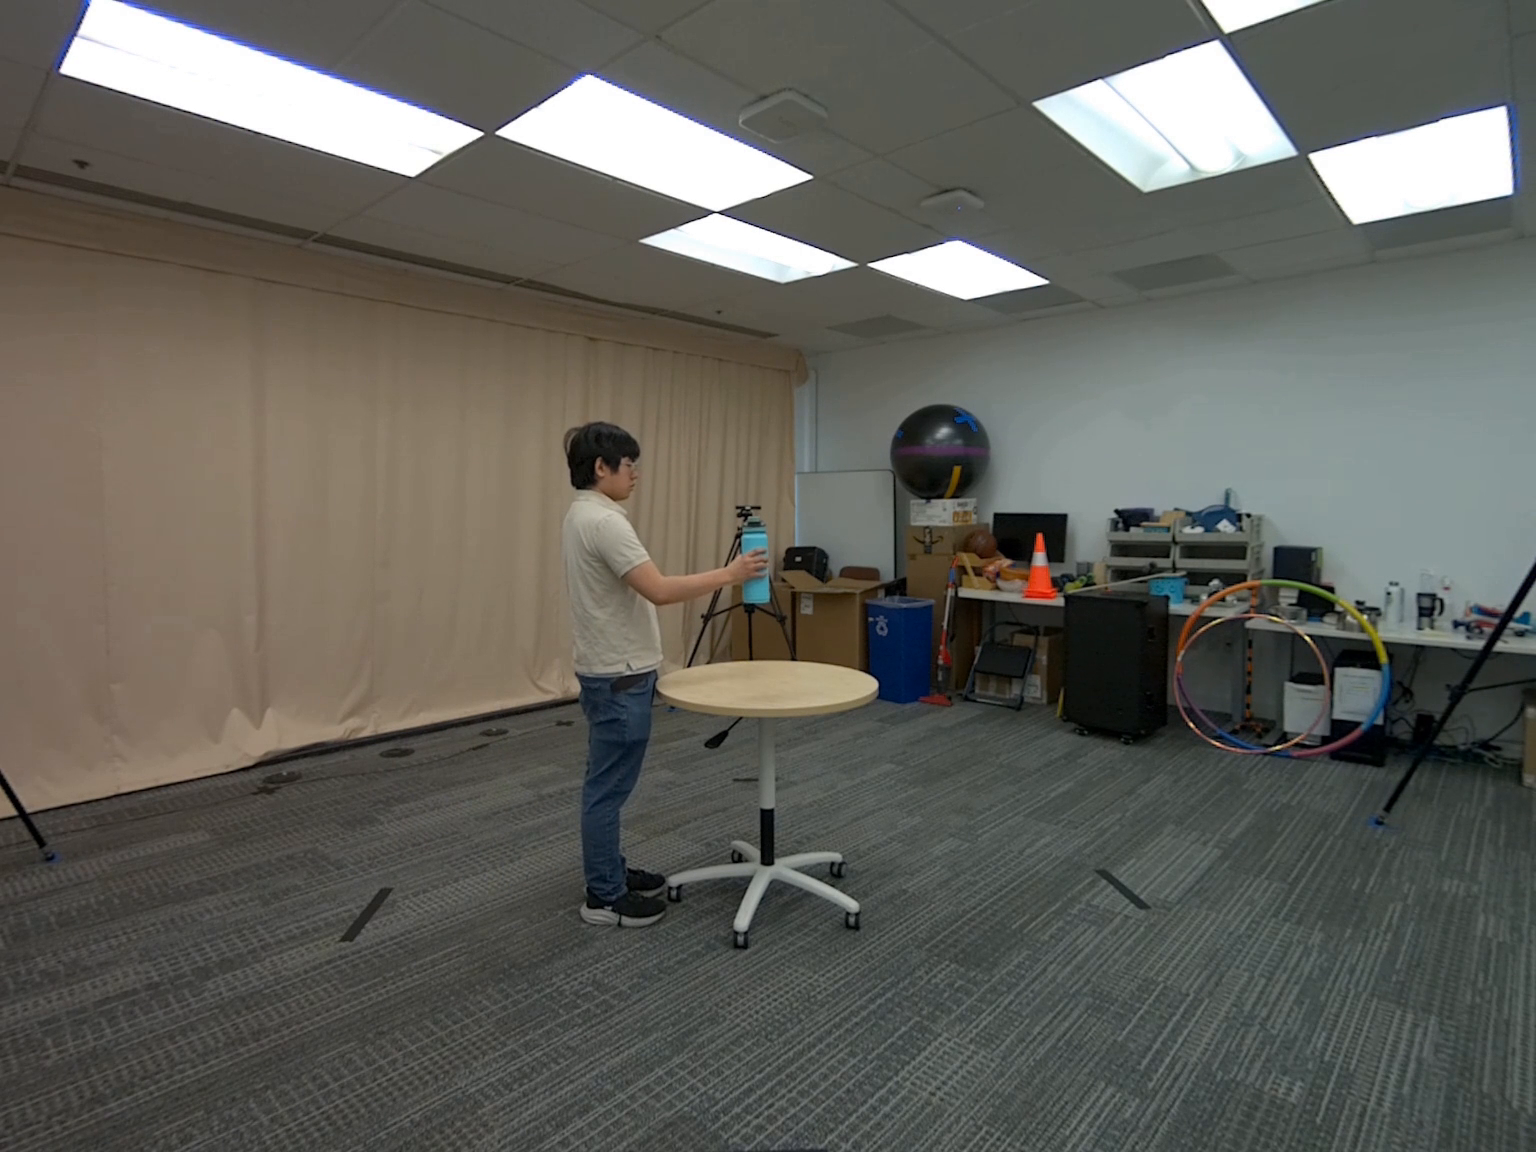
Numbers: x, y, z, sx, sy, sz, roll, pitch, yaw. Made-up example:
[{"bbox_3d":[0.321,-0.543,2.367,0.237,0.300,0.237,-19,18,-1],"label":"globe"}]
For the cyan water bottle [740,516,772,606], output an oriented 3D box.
[{"bbox_3d":[-0.041,-0.057,2.794,0.092,0.284,0.092,-1,-3,-2],"label":"cyan water bottle"}]
